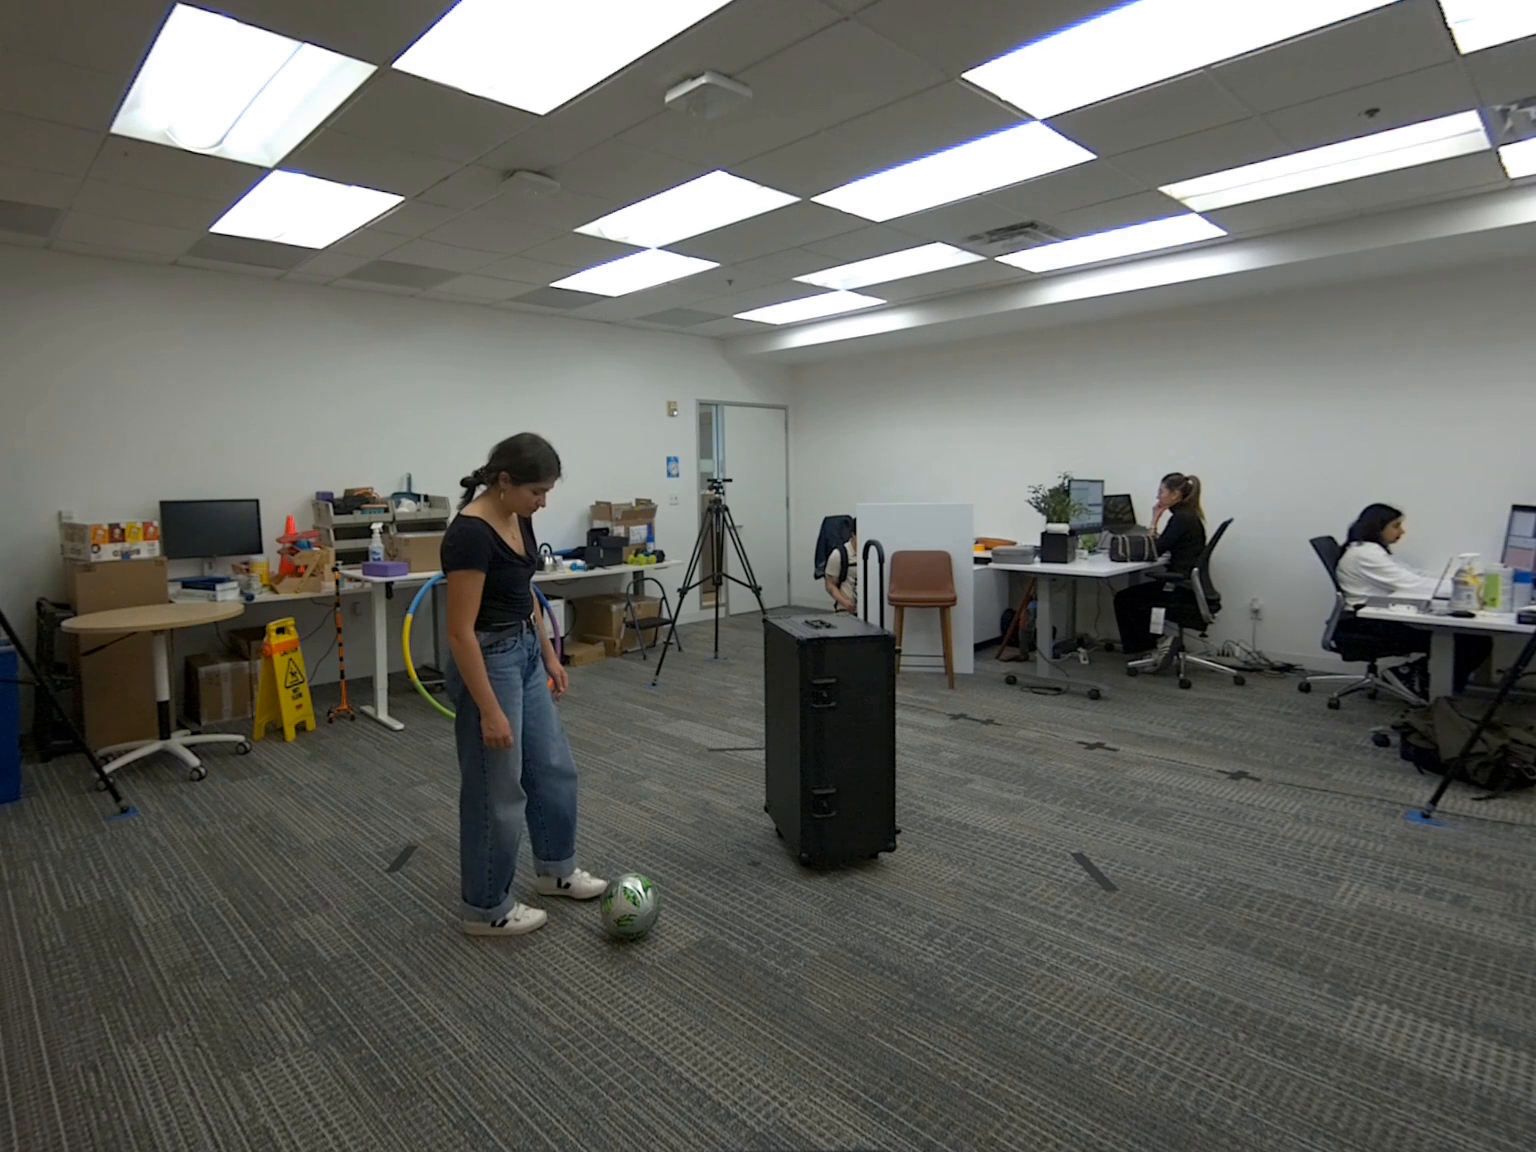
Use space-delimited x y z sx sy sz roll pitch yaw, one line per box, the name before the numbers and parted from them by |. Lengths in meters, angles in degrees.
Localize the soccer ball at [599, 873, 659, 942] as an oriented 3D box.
soccer ball | -0.419 1.016 2.632 0.187 0.187 0.188 -1 5 -2
